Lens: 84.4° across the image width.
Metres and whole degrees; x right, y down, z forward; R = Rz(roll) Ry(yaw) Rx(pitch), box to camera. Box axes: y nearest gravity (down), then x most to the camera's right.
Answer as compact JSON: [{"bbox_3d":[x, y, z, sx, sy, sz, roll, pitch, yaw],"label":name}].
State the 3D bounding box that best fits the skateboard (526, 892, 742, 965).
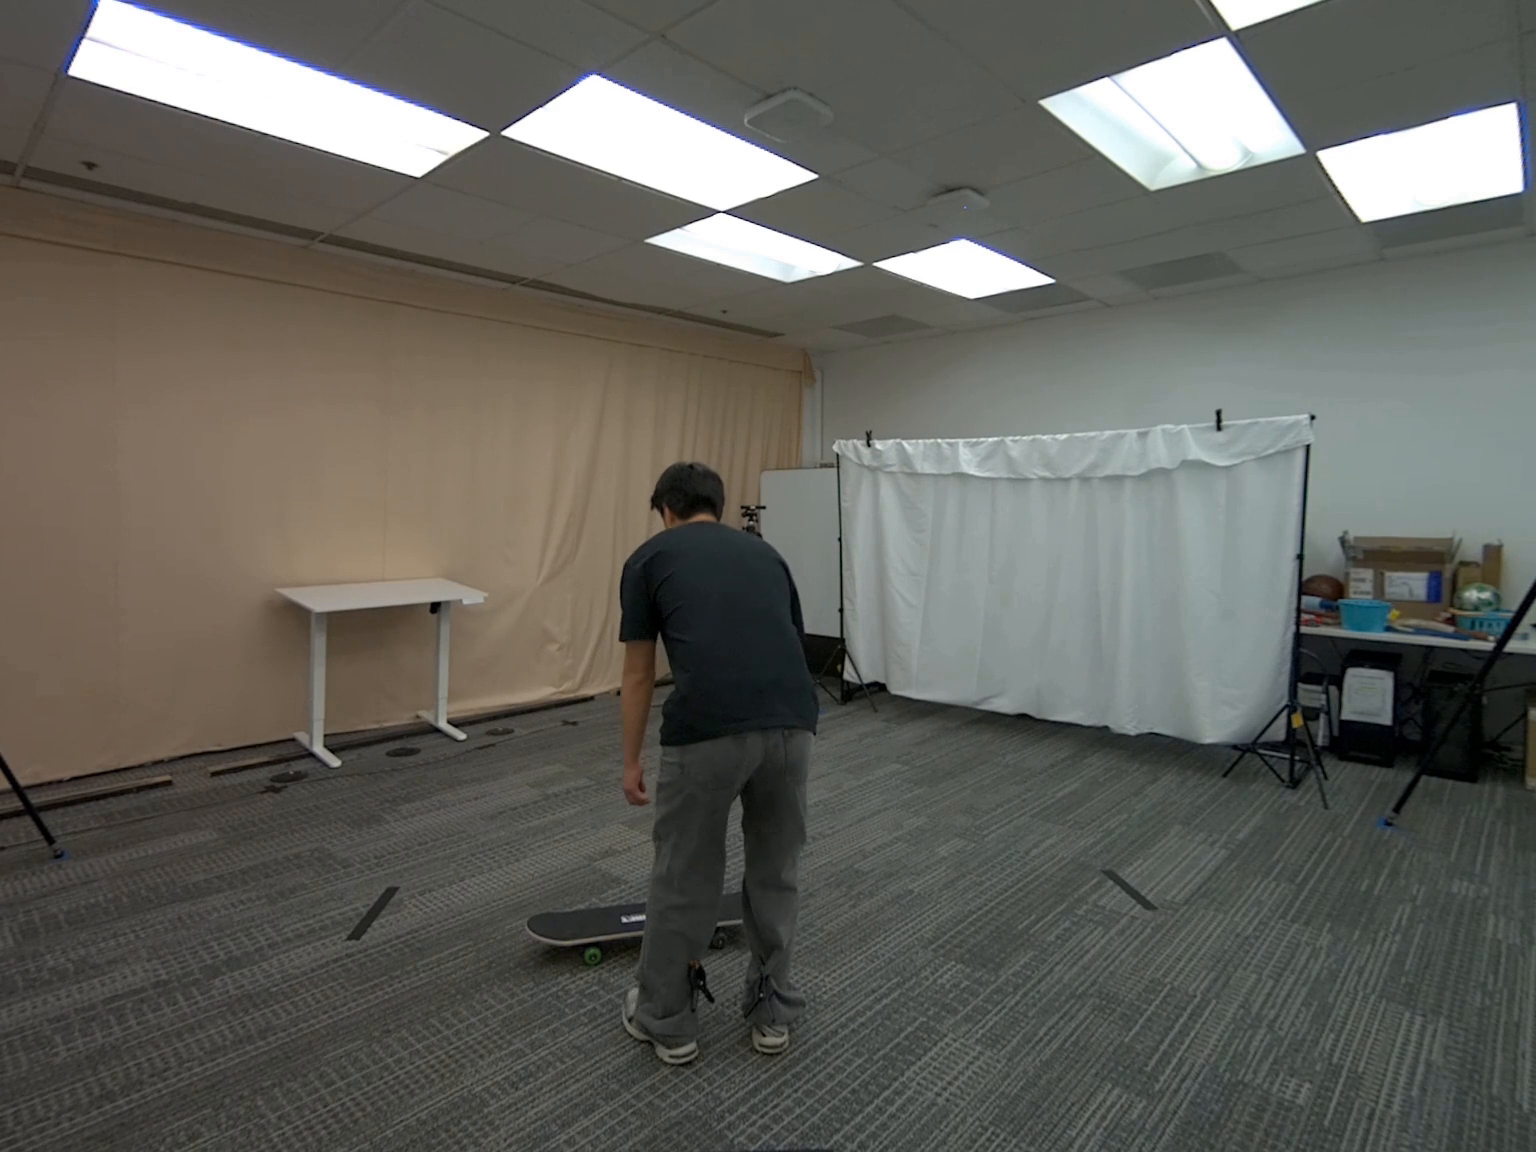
[{"bbox_3d":[-0.363,1.117,2.678,0.775,0.110,0.196,-1,5,-13],"label":"skateboard"}]
